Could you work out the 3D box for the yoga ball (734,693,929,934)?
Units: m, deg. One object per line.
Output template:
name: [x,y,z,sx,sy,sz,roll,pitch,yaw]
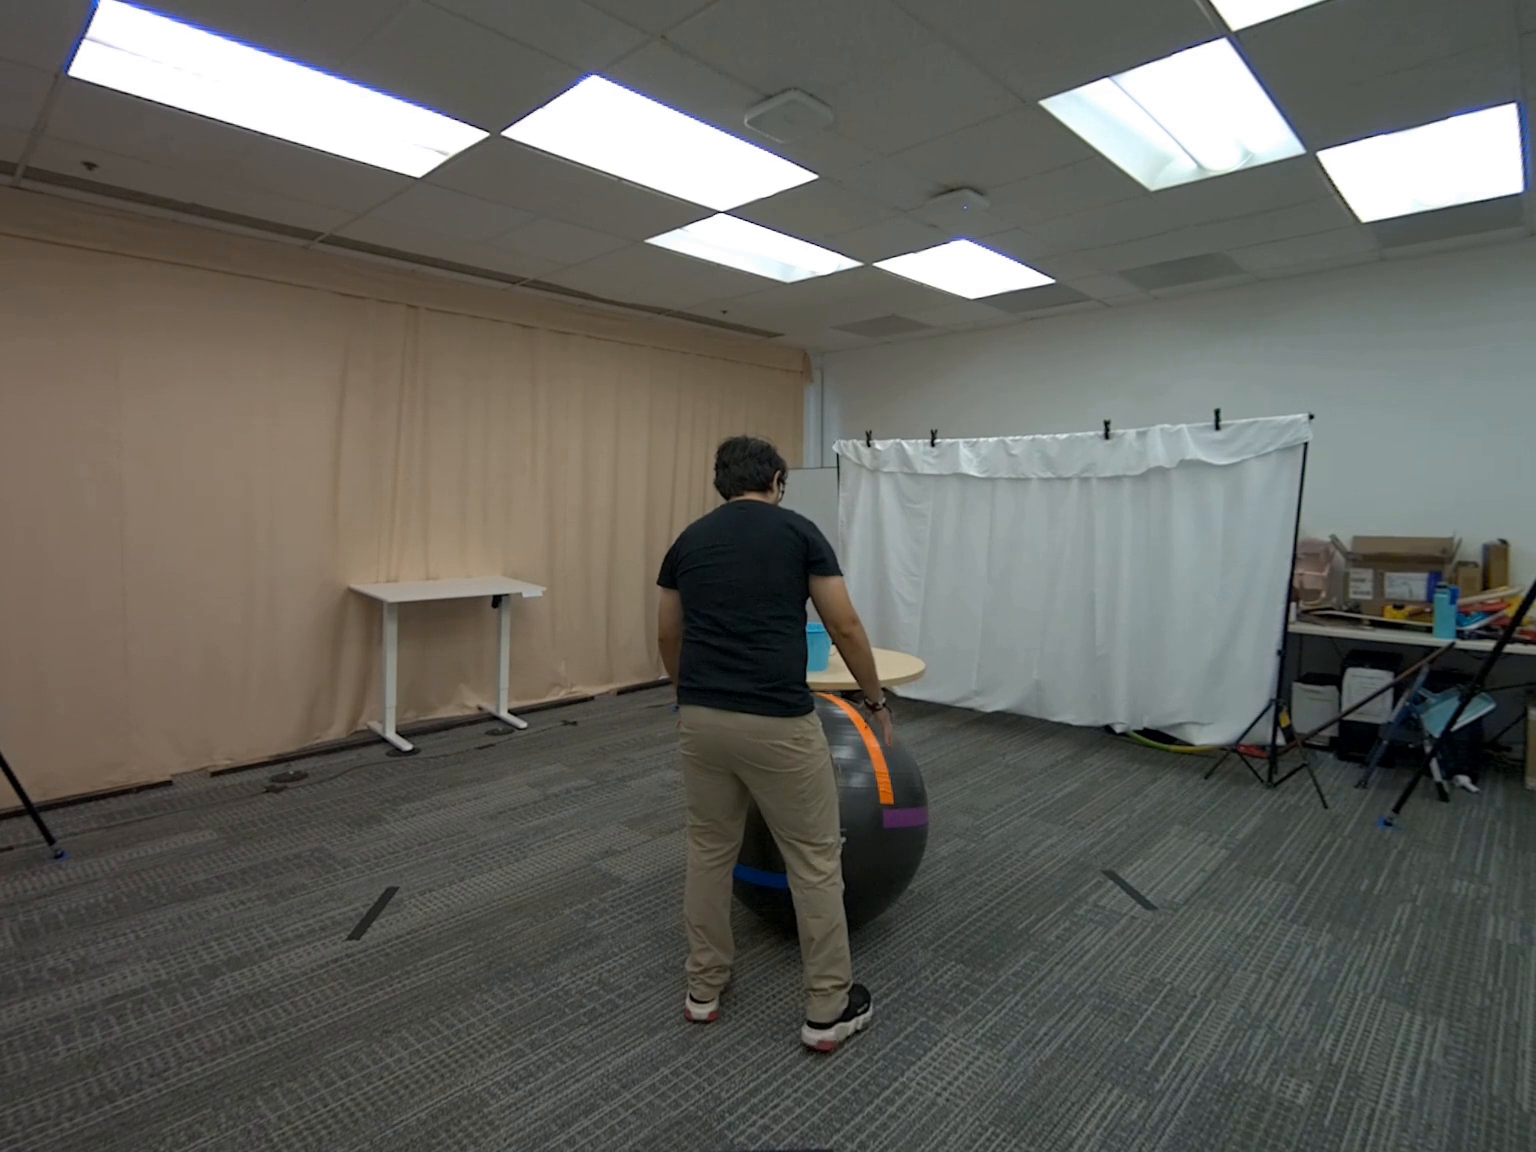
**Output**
yoga ball: [0.149,0.792,2.825,0.757,0.756,0.760,0,4,-2]
